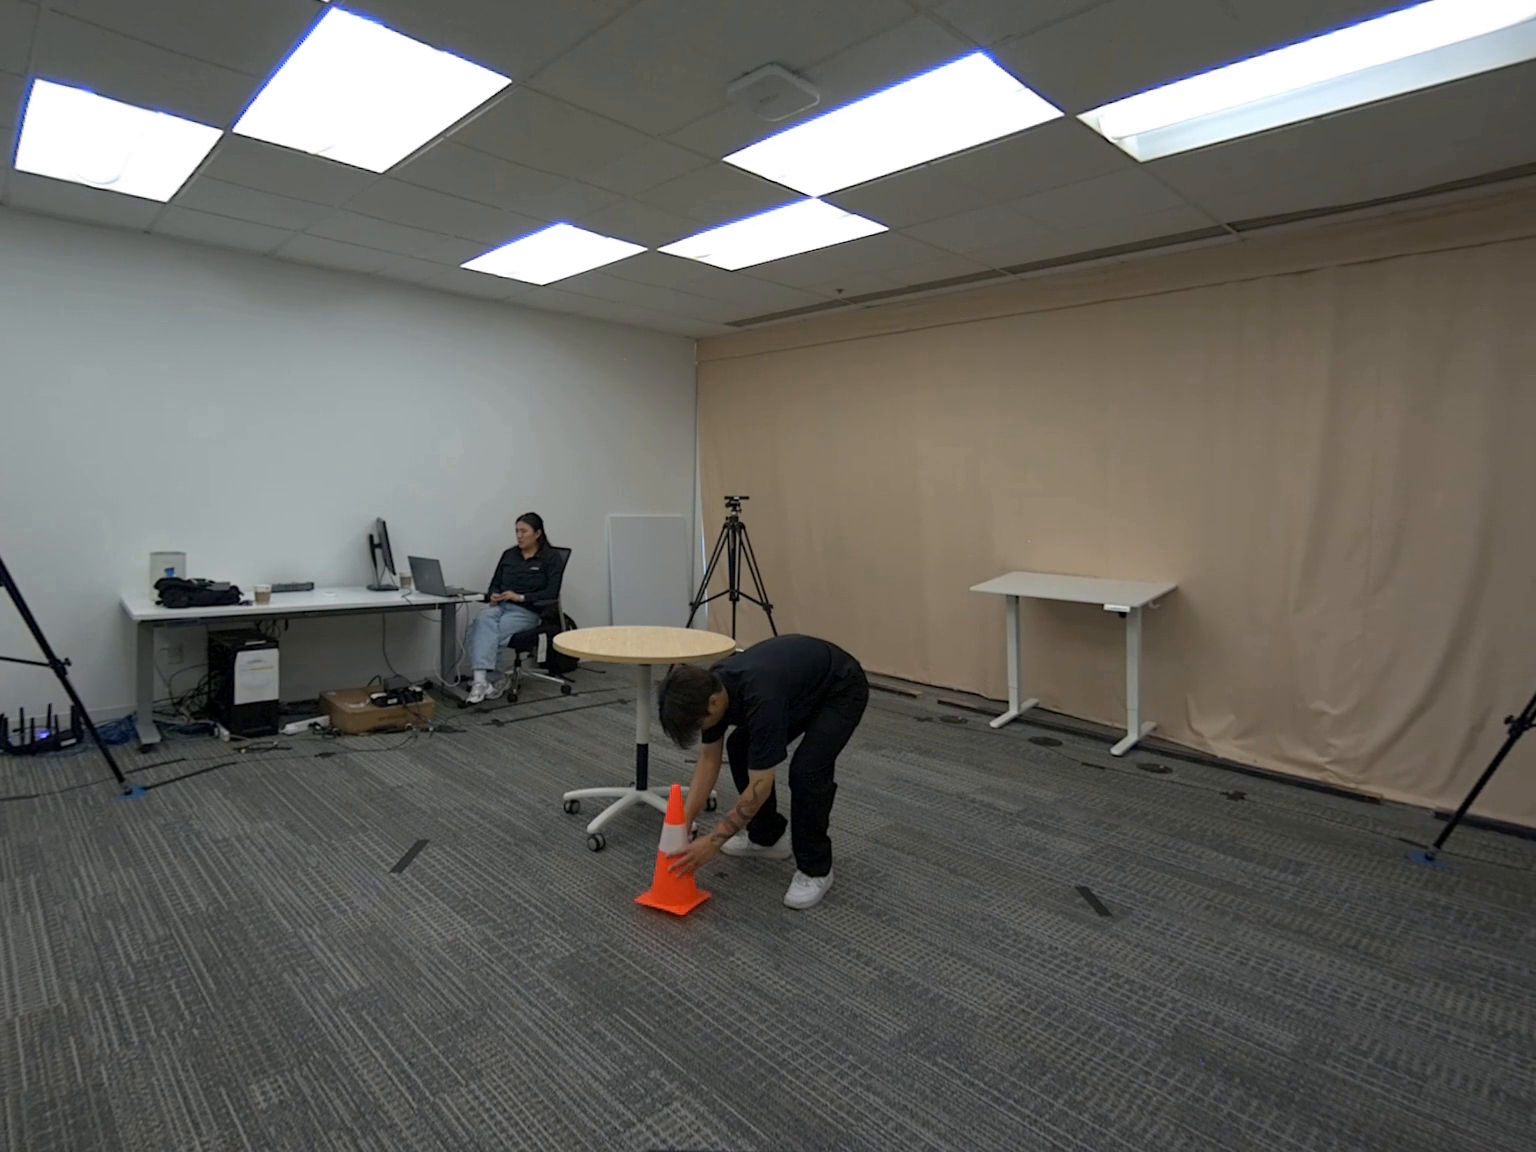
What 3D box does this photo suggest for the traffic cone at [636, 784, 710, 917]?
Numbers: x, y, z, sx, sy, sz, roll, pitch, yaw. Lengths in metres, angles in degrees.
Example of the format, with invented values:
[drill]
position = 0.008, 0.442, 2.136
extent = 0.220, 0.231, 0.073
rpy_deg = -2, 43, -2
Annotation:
[traffic cone]
position = -0.327, 0.912, 2.863
extent = 0.207, 0.383, 0.201
rpy_deg = 2, 2, 27
